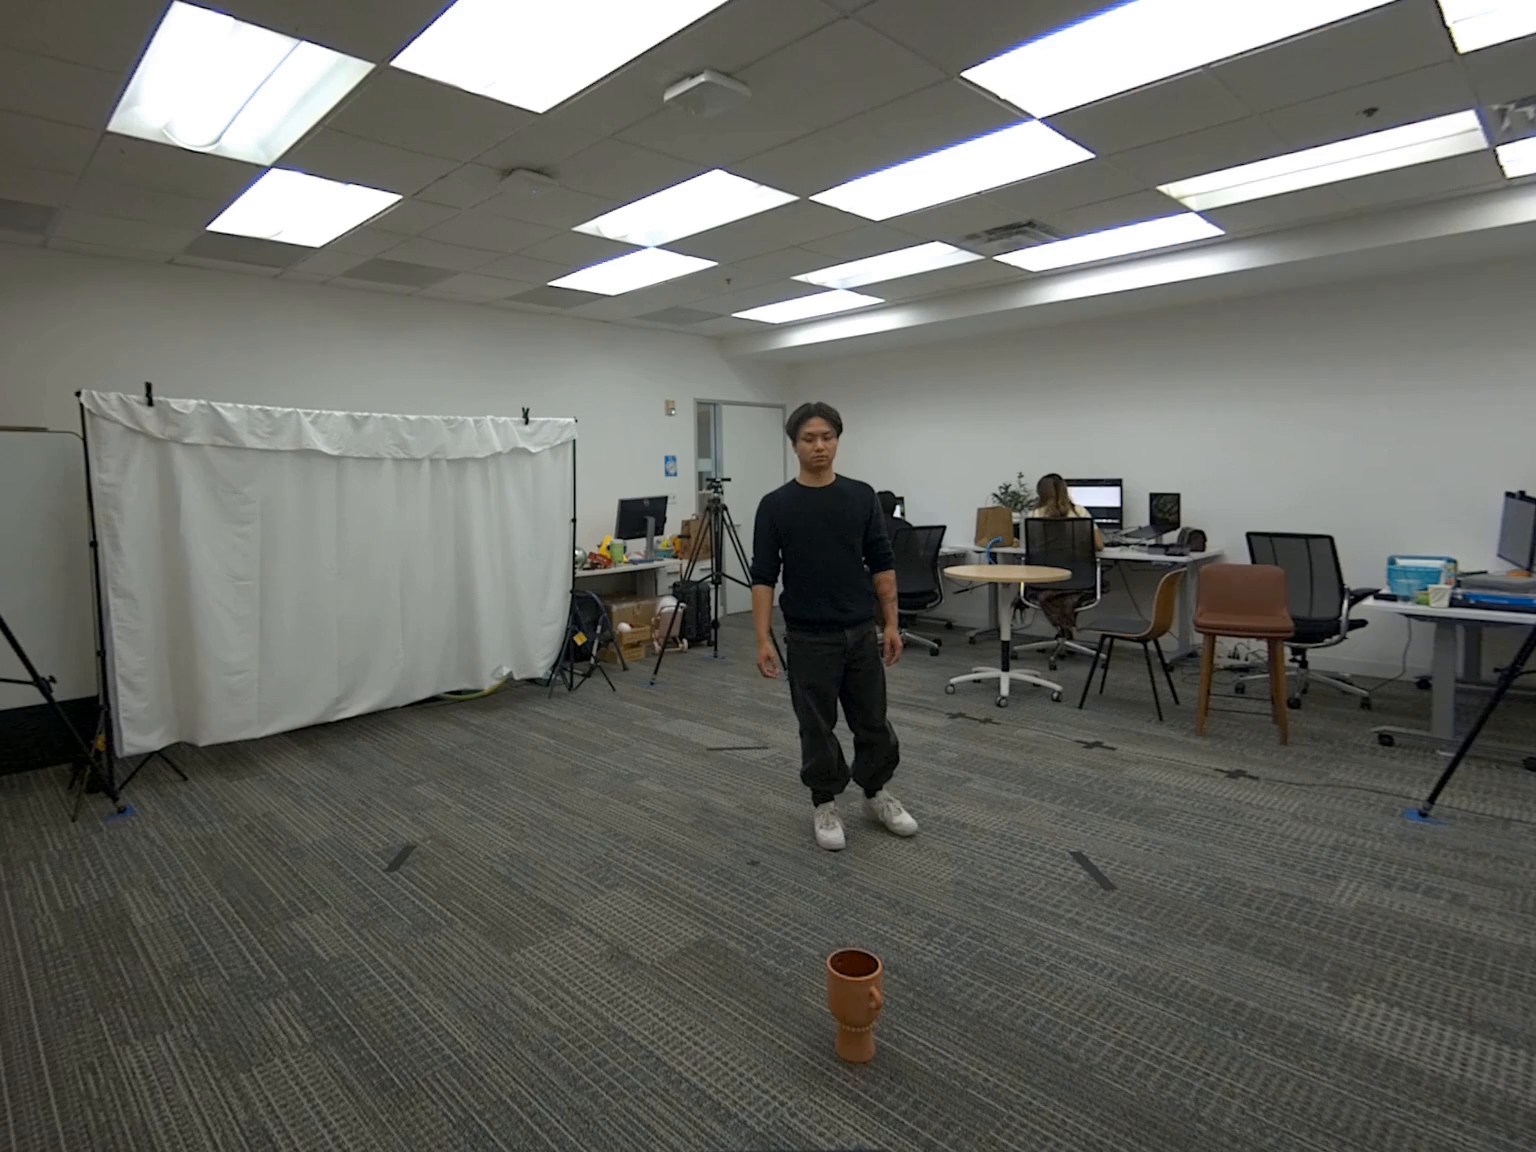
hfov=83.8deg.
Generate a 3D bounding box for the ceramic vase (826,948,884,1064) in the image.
[{"bbox_3d":[0.221,1.046,2.076,0.136,0.219,0.158,-1,5,7],"label":"ceramic vase"}]
